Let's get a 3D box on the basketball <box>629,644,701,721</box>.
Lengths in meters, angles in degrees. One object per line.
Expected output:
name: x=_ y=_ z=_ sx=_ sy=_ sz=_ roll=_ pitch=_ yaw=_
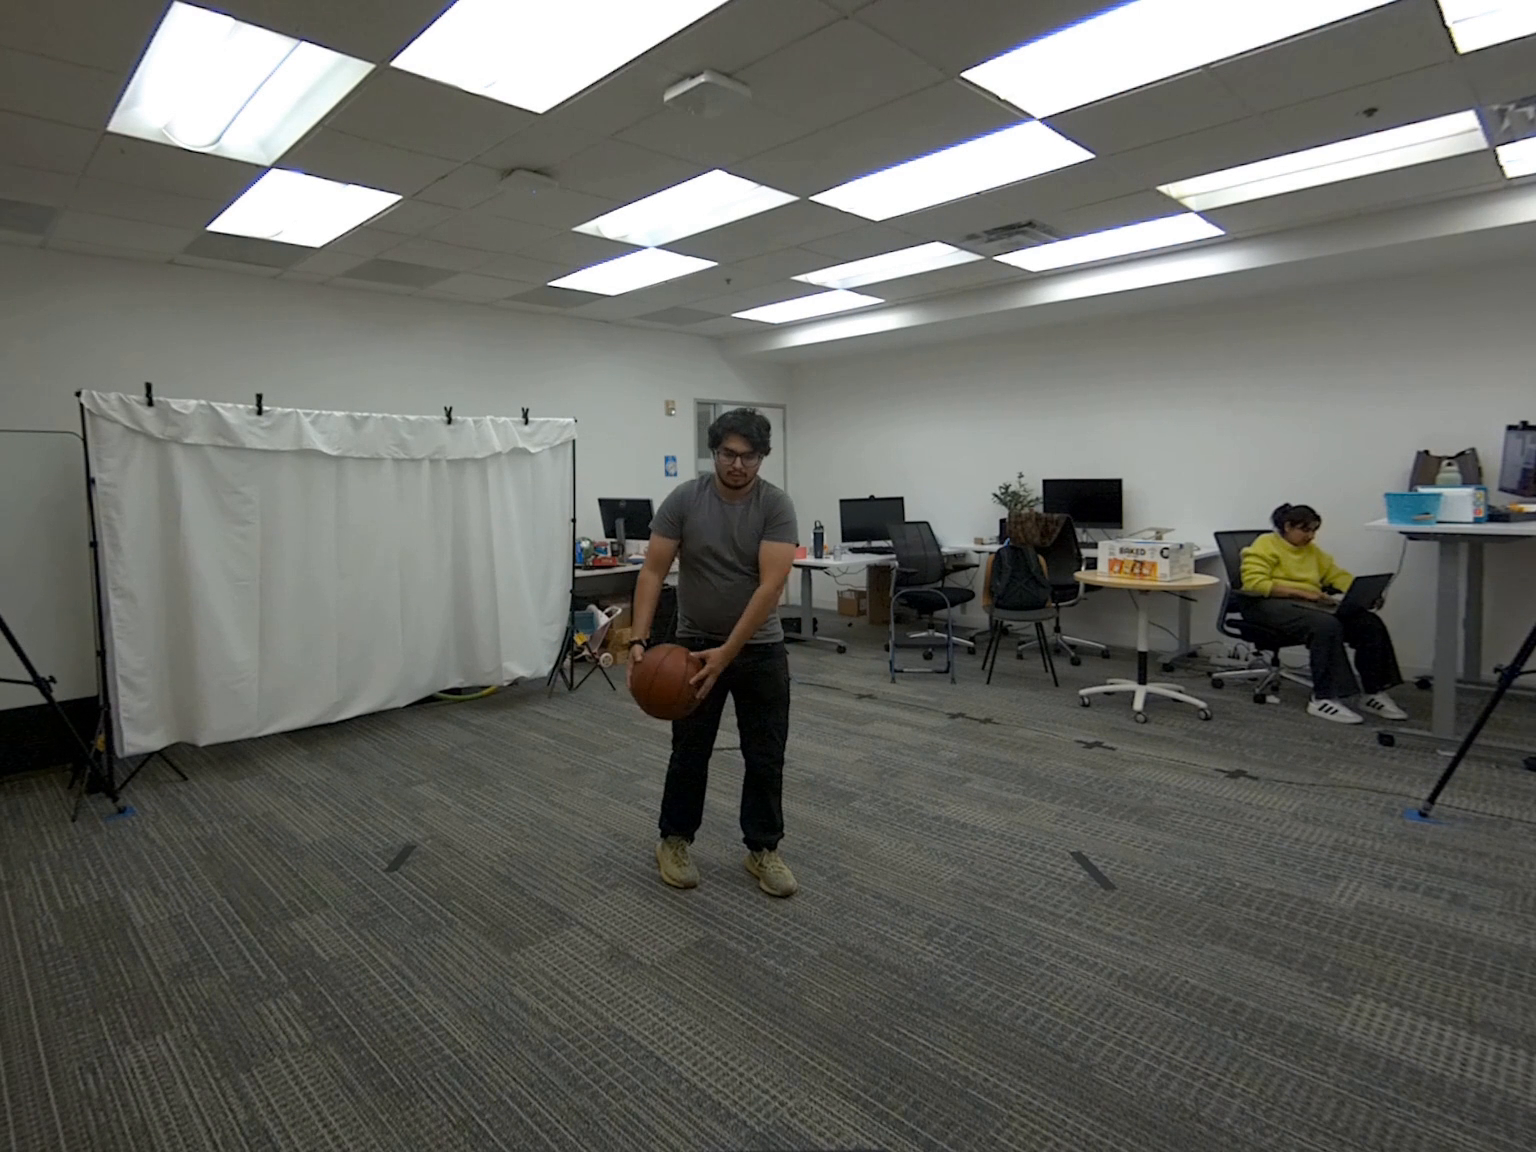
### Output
basketball: x=-0.321 y=0.326 z=2.711 sx=0.236 sy=0.235 sz=0.237 roll=-1 pitch=5 yaw=-2
